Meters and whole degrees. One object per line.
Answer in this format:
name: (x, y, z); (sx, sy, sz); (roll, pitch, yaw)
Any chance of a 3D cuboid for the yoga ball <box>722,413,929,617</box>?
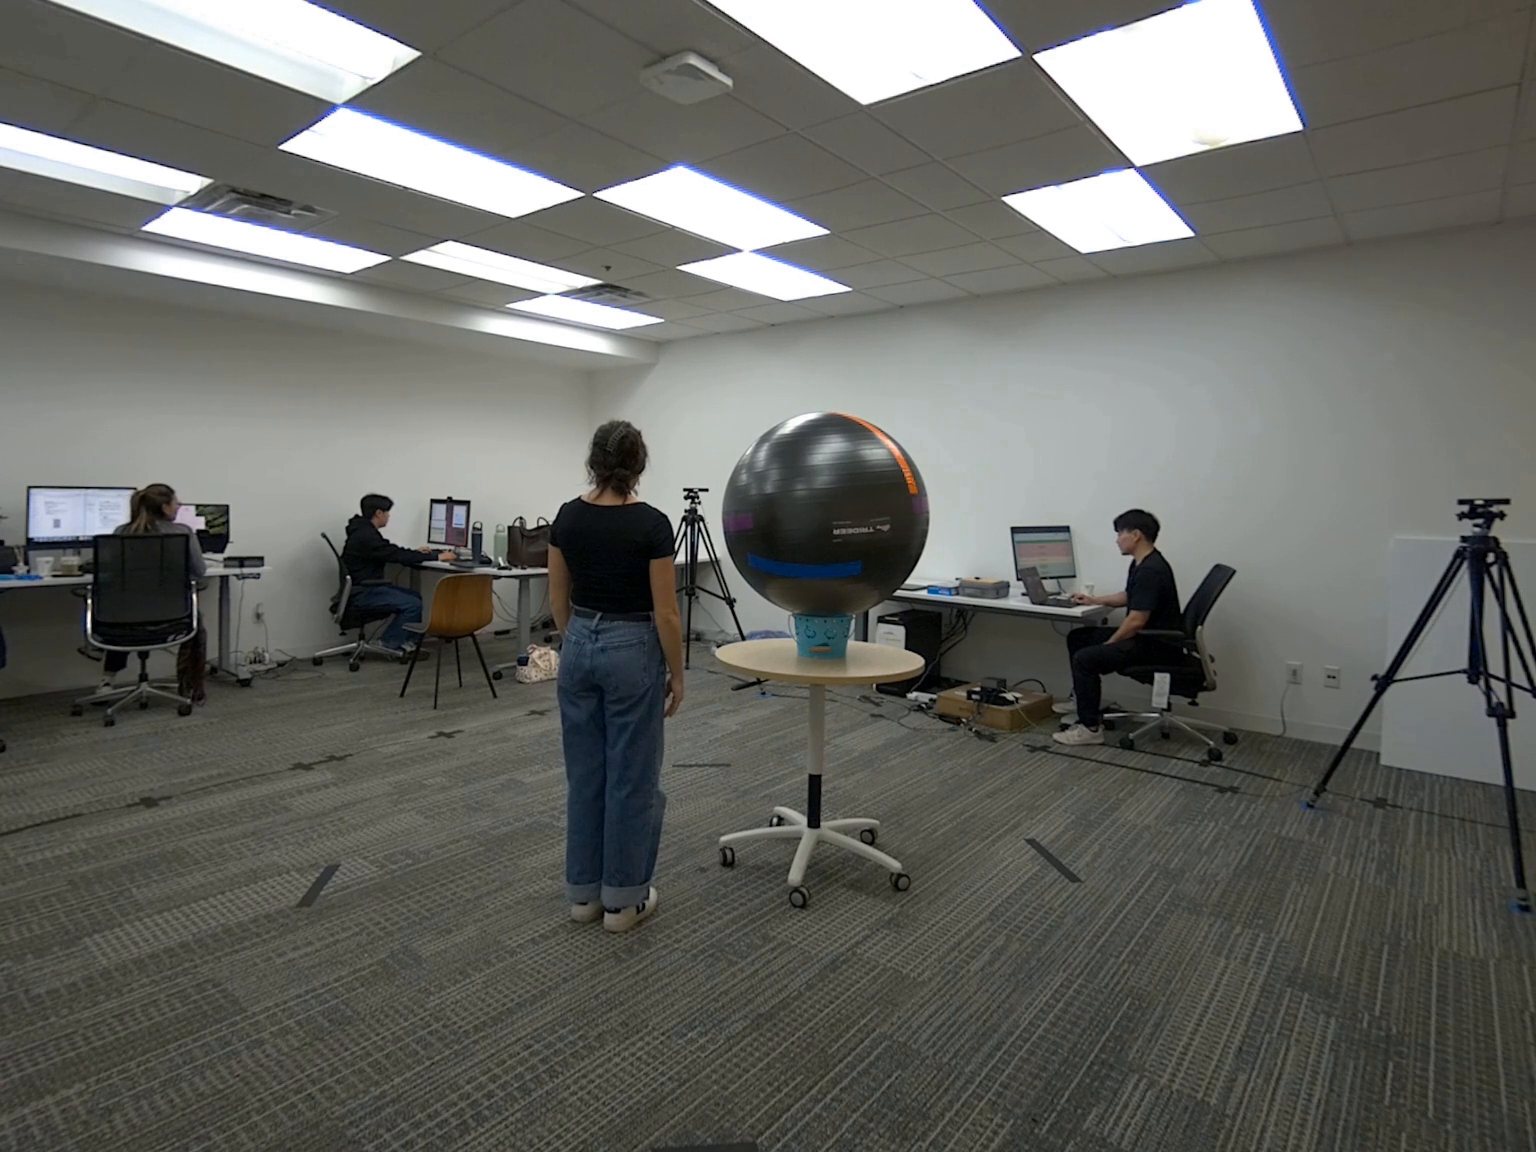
yoga ball: (0.210, -0.226, 3.162); (0.757, 0.756, 0.762); (1, 4, -2)
